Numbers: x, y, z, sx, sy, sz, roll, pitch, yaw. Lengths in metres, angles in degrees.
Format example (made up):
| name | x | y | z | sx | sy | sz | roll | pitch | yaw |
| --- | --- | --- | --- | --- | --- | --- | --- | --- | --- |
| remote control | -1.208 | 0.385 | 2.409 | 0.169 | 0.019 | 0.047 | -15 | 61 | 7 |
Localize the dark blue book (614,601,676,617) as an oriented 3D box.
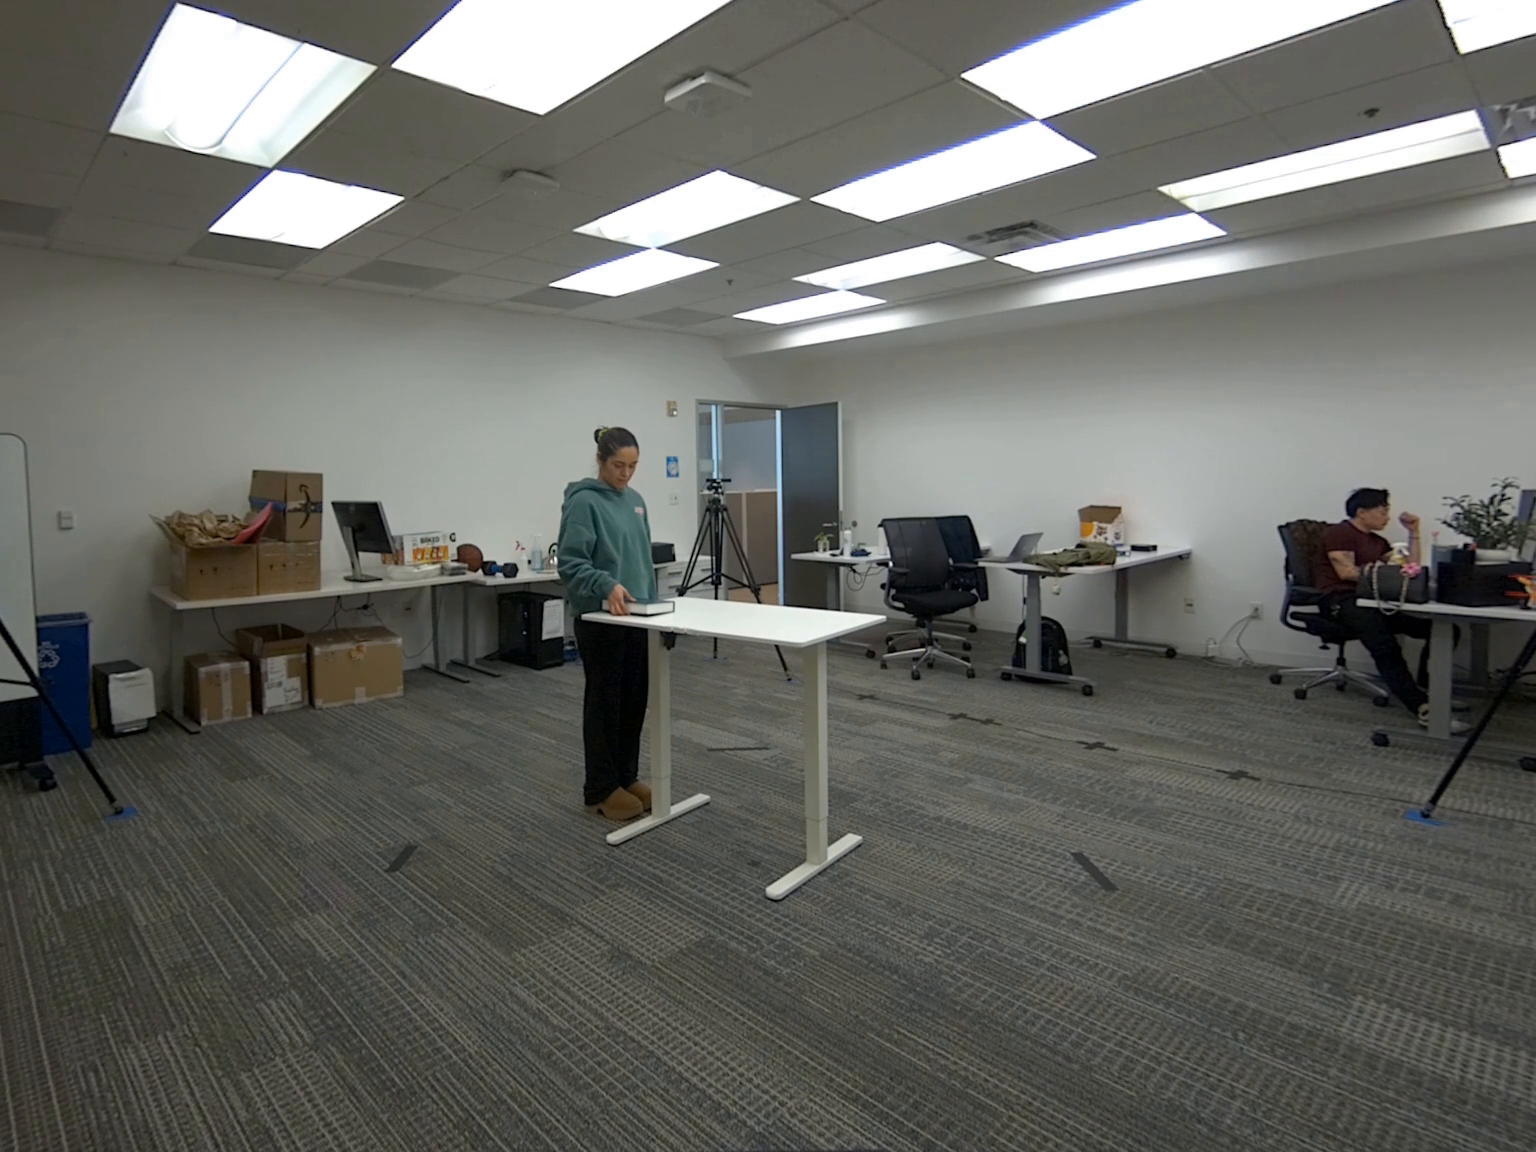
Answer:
| name | x | y | z | sx | sy | sz | roll | pitch | yaw |
| --- | --- | --- | --- | --- | --- | --- | --- | --- | --- |
| dark blue book | -0.511 | 0.118 | 3.356 | 0.252 | 0.045 | 0.159 | 3 | 4 | 34 |
